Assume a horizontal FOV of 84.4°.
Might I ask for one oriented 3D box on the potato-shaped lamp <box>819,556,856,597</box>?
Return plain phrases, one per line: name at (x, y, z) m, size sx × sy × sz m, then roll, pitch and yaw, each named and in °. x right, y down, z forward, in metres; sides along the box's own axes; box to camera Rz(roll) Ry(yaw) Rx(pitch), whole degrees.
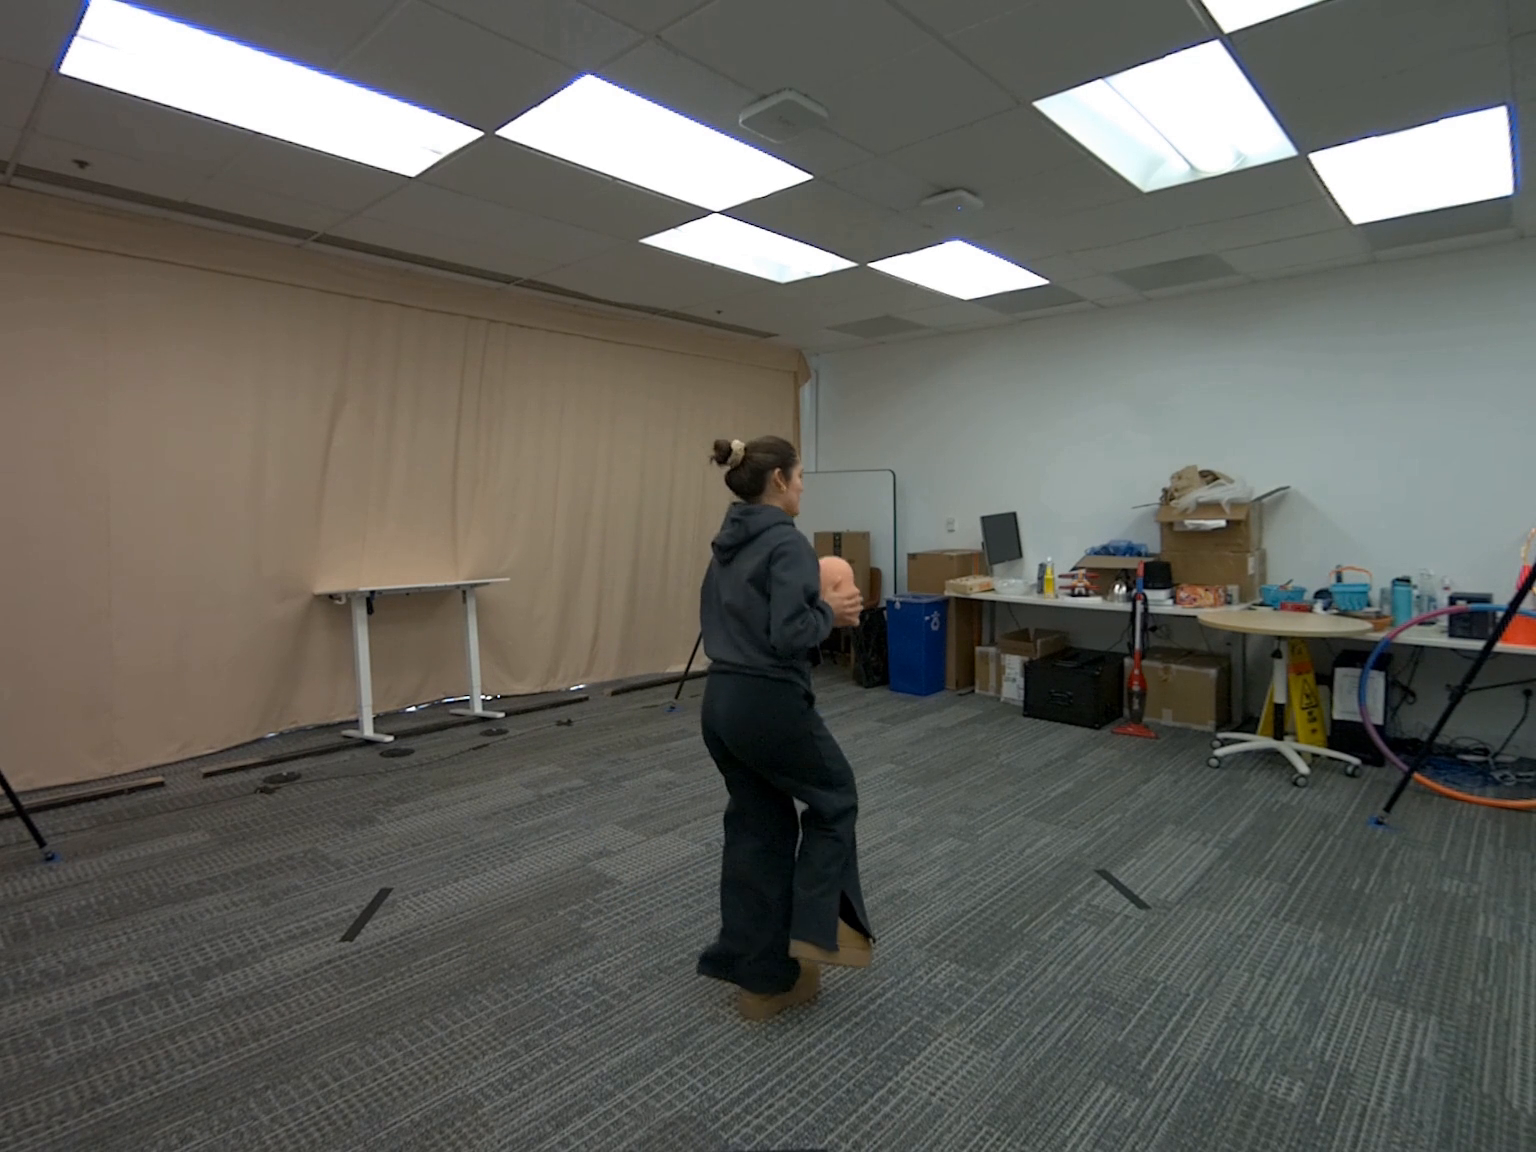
potato-shaped lamp at (0.195, 0.032, 2.436) m, size 0.167 × 0.198 × 0.168 m, roll 3°, pitch 1°, yaw -22°
